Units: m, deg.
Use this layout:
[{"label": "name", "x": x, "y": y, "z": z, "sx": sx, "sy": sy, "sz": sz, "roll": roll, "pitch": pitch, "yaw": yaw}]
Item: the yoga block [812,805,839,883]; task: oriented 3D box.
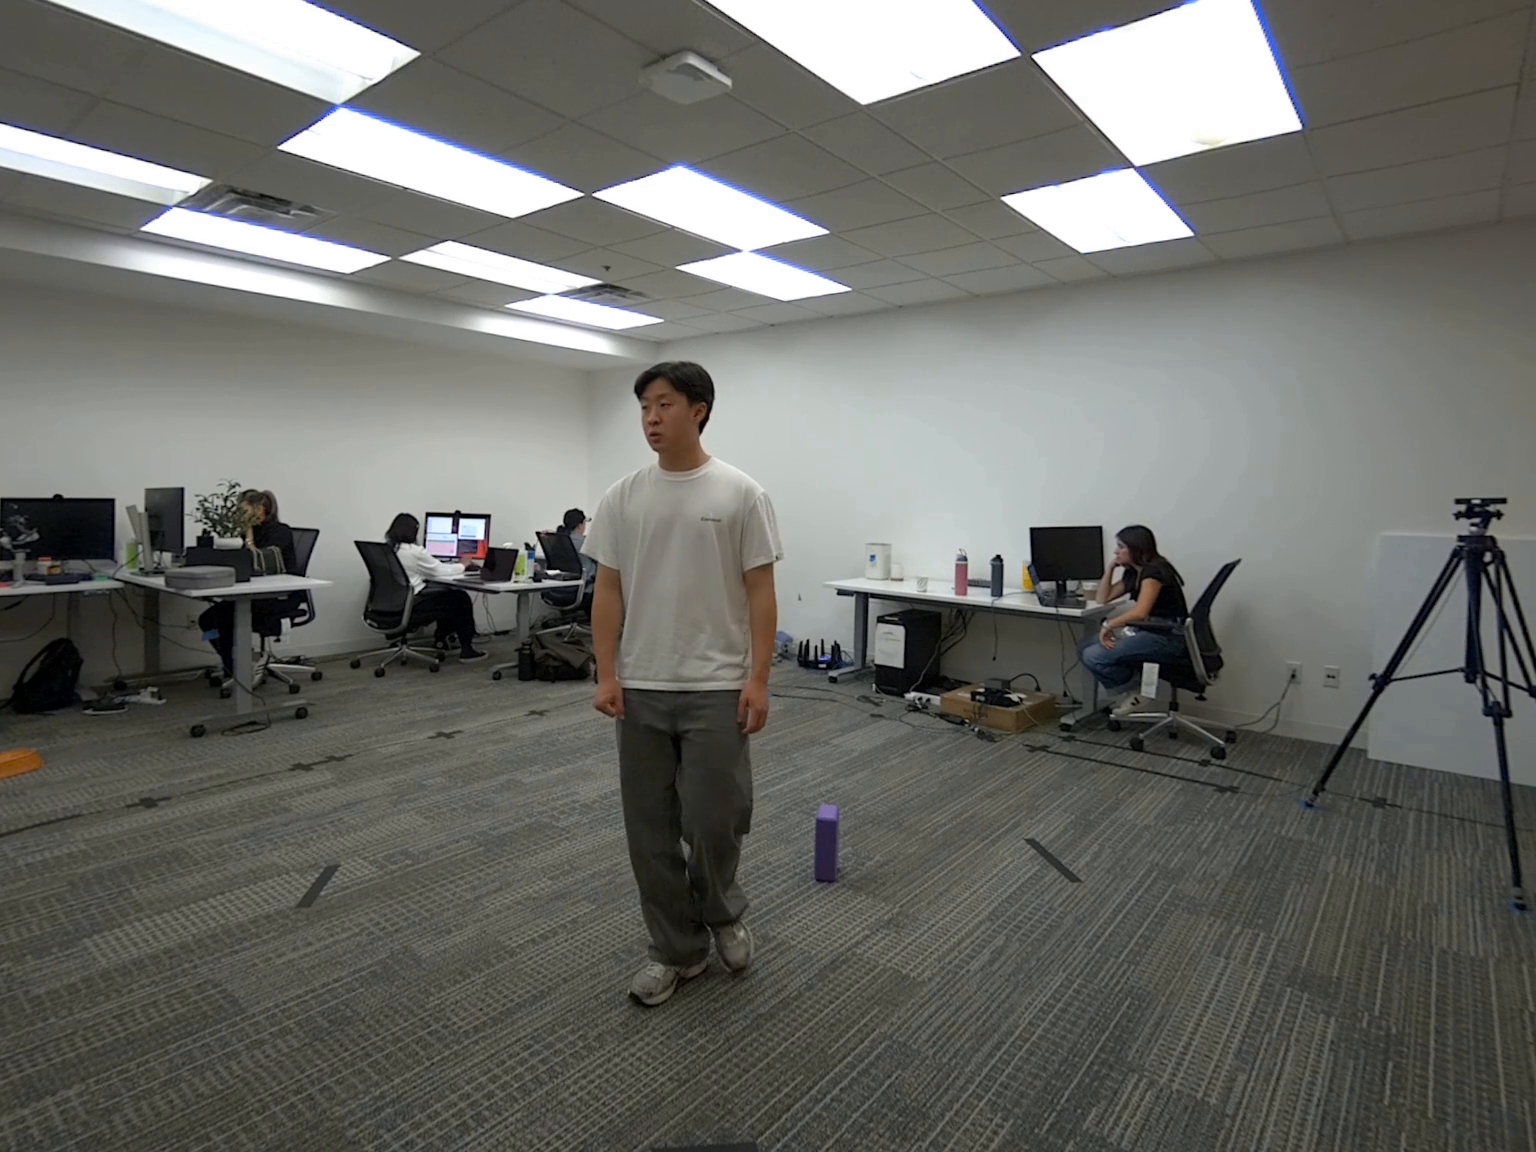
[{"label": "yoga block", "x": 0.218, "y": 0.959, "z": 3.096, "sx": 0.077, "sy": 0.229, "sz": 0.148, "roll": 2, "pitch": 3, "yaw": 9}]
